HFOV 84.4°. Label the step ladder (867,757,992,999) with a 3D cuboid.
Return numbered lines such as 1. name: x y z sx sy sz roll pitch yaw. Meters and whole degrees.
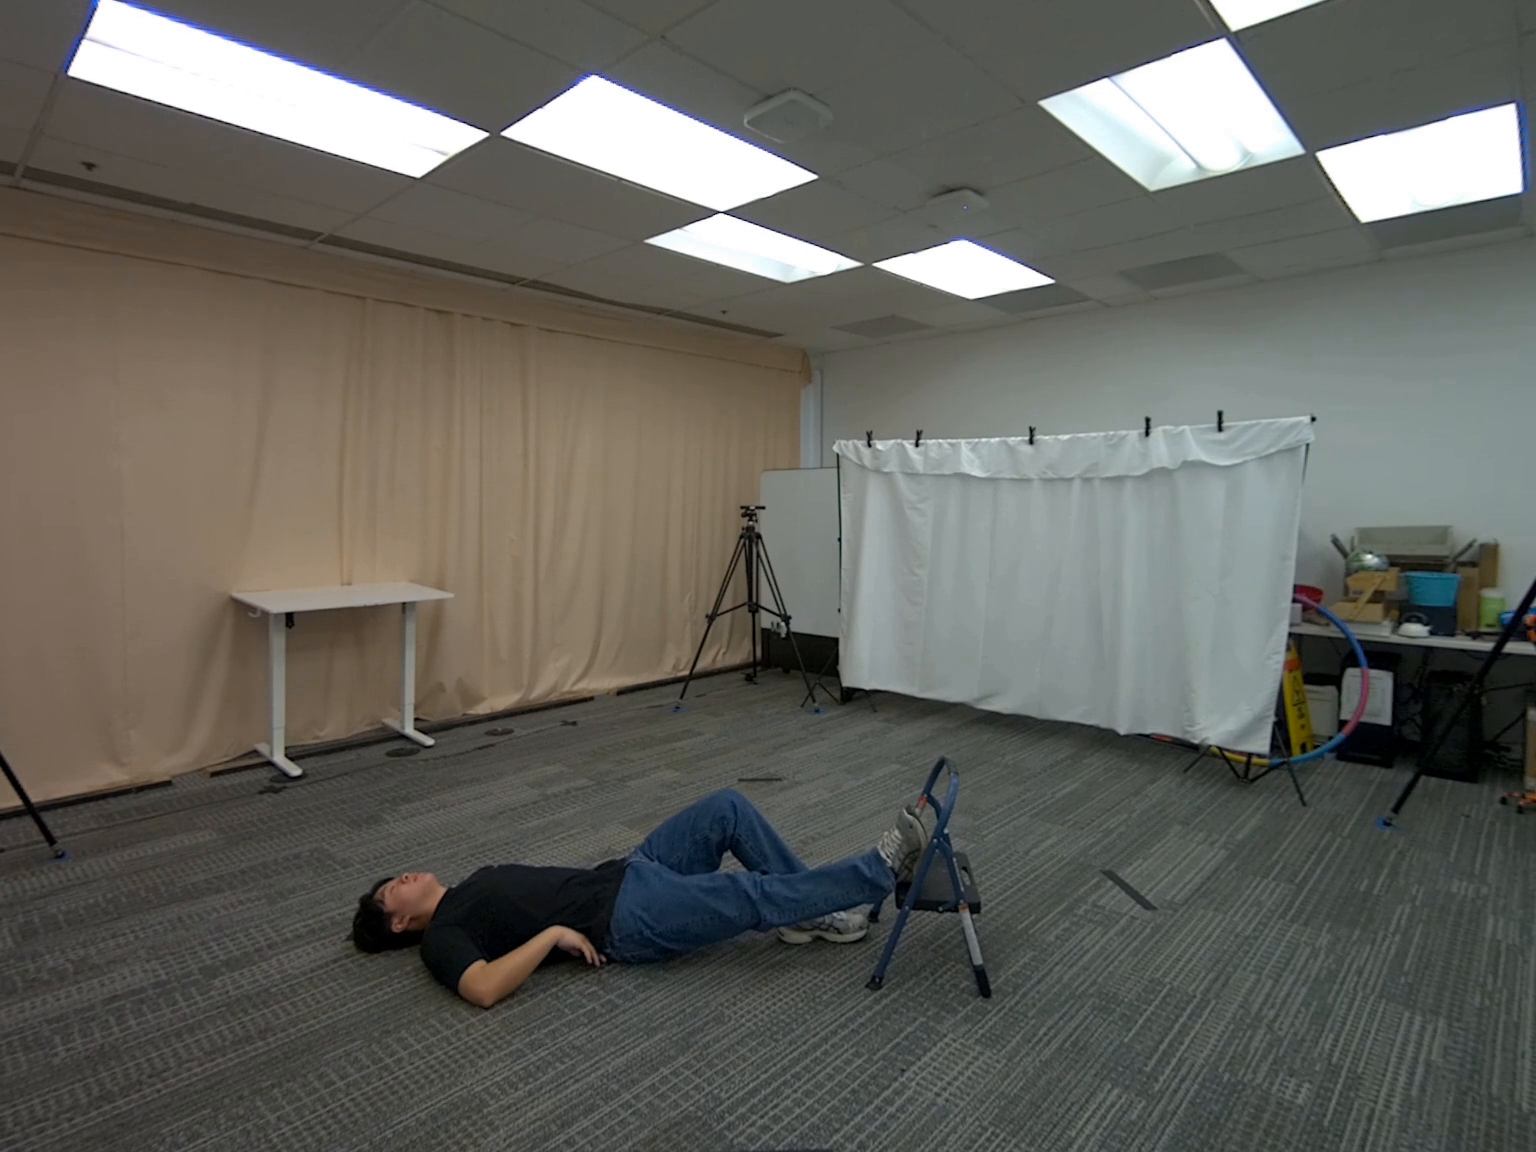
1. step ladder: 0.487 0.876 2.589 0.352 0.605 0.428 1 4 7
